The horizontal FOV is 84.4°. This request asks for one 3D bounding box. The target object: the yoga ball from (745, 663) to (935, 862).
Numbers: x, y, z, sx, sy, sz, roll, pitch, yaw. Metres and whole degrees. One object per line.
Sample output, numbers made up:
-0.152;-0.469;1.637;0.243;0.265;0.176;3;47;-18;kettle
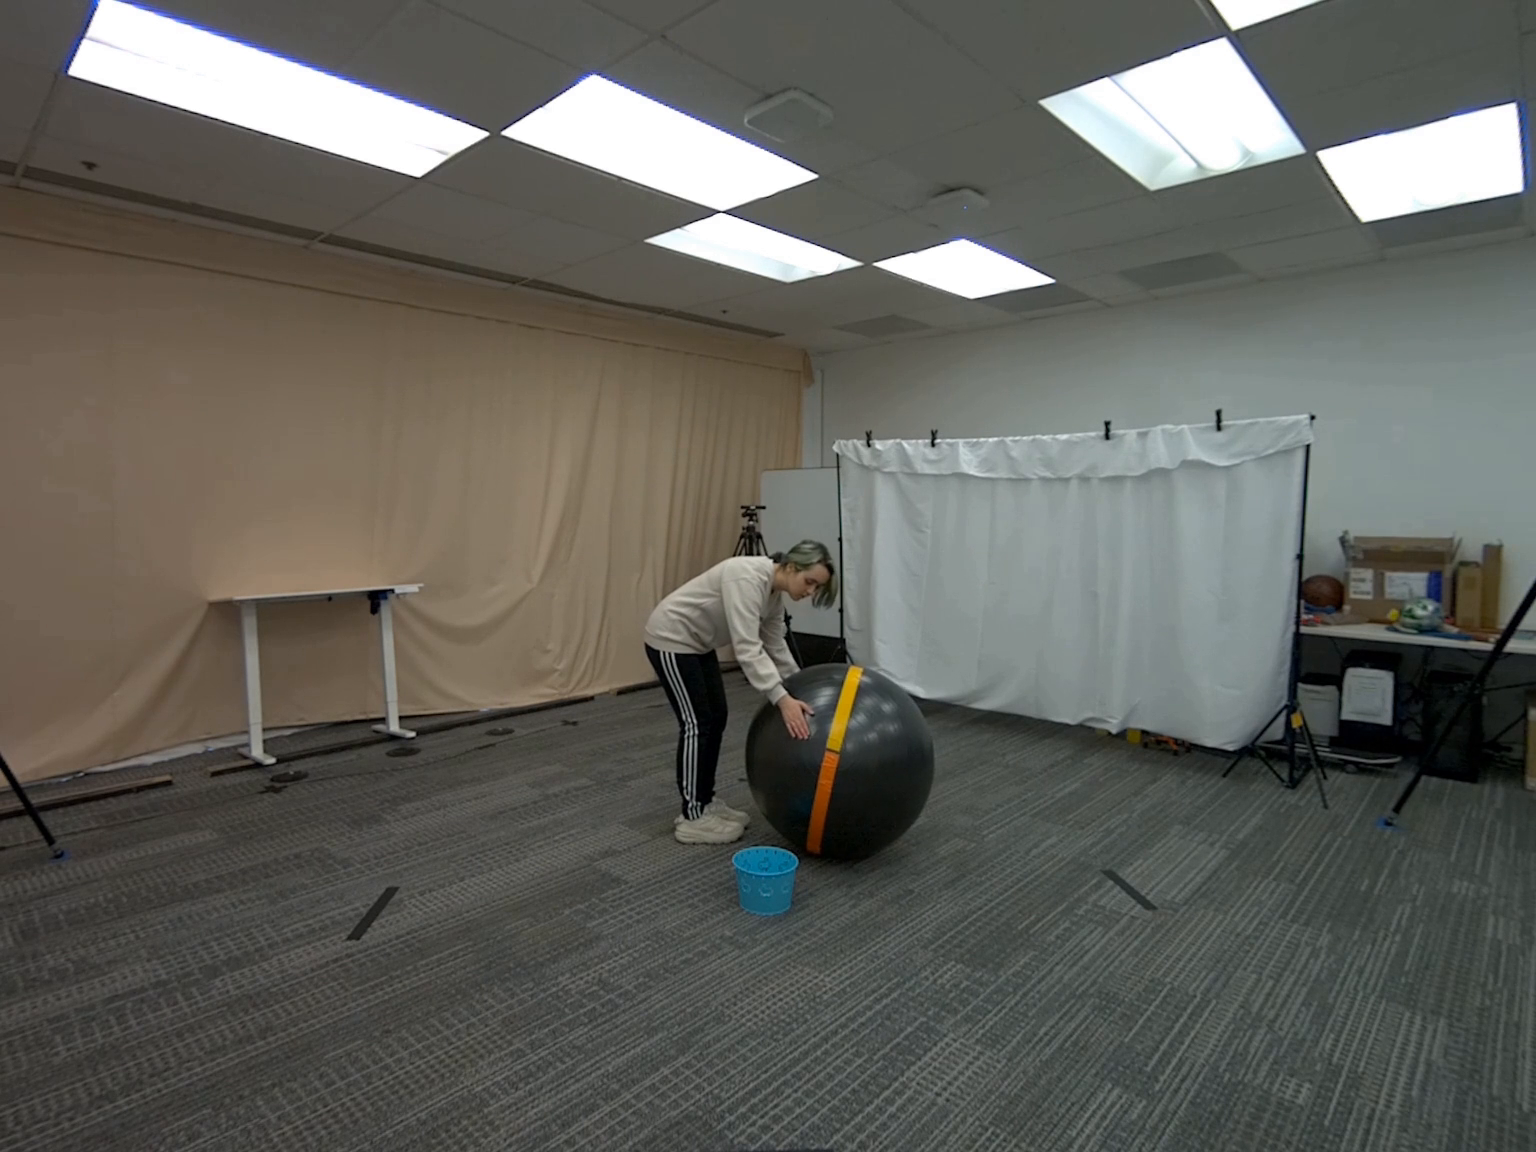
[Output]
0.293;0.736;3.406;0.757;0.756;0.760;0;4;-2;yoga ball
